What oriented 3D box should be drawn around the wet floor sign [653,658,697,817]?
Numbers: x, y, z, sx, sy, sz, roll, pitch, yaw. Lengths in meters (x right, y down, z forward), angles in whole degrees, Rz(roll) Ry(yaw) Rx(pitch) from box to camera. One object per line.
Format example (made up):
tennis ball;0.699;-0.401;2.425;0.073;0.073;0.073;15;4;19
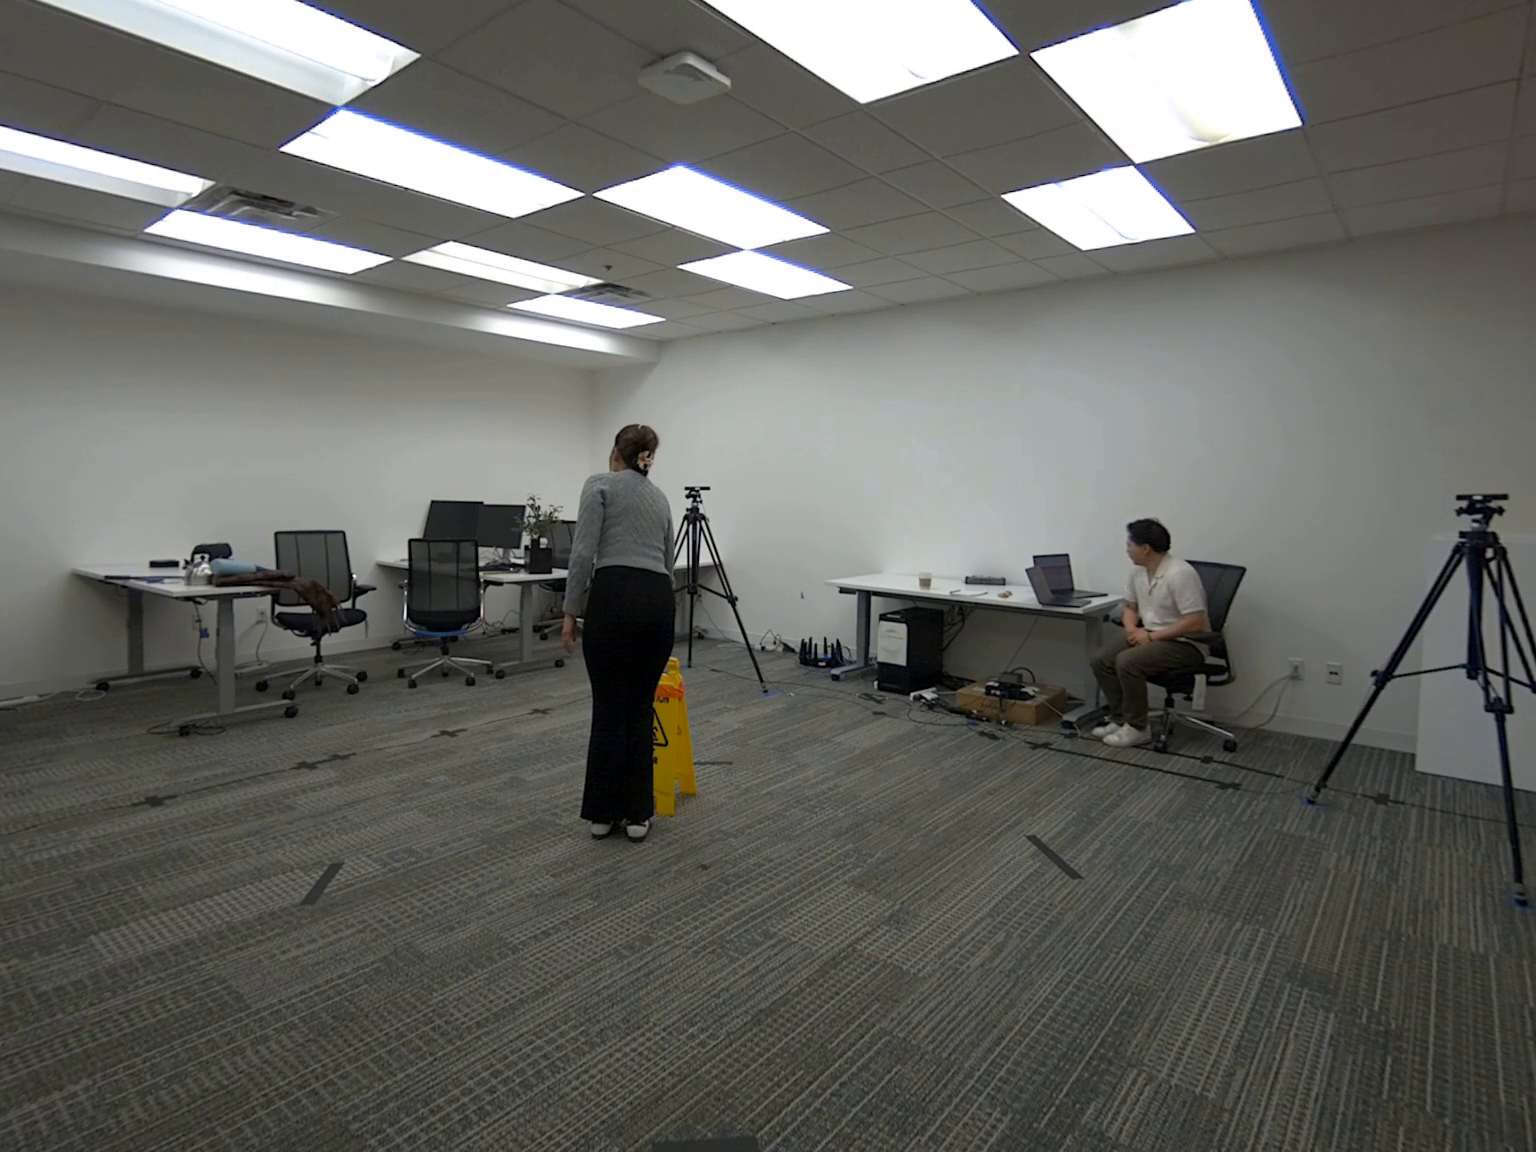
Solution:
wet floor sign;-0.504;0.675;3.768;0.288;0.645;0.284;3;3;18
